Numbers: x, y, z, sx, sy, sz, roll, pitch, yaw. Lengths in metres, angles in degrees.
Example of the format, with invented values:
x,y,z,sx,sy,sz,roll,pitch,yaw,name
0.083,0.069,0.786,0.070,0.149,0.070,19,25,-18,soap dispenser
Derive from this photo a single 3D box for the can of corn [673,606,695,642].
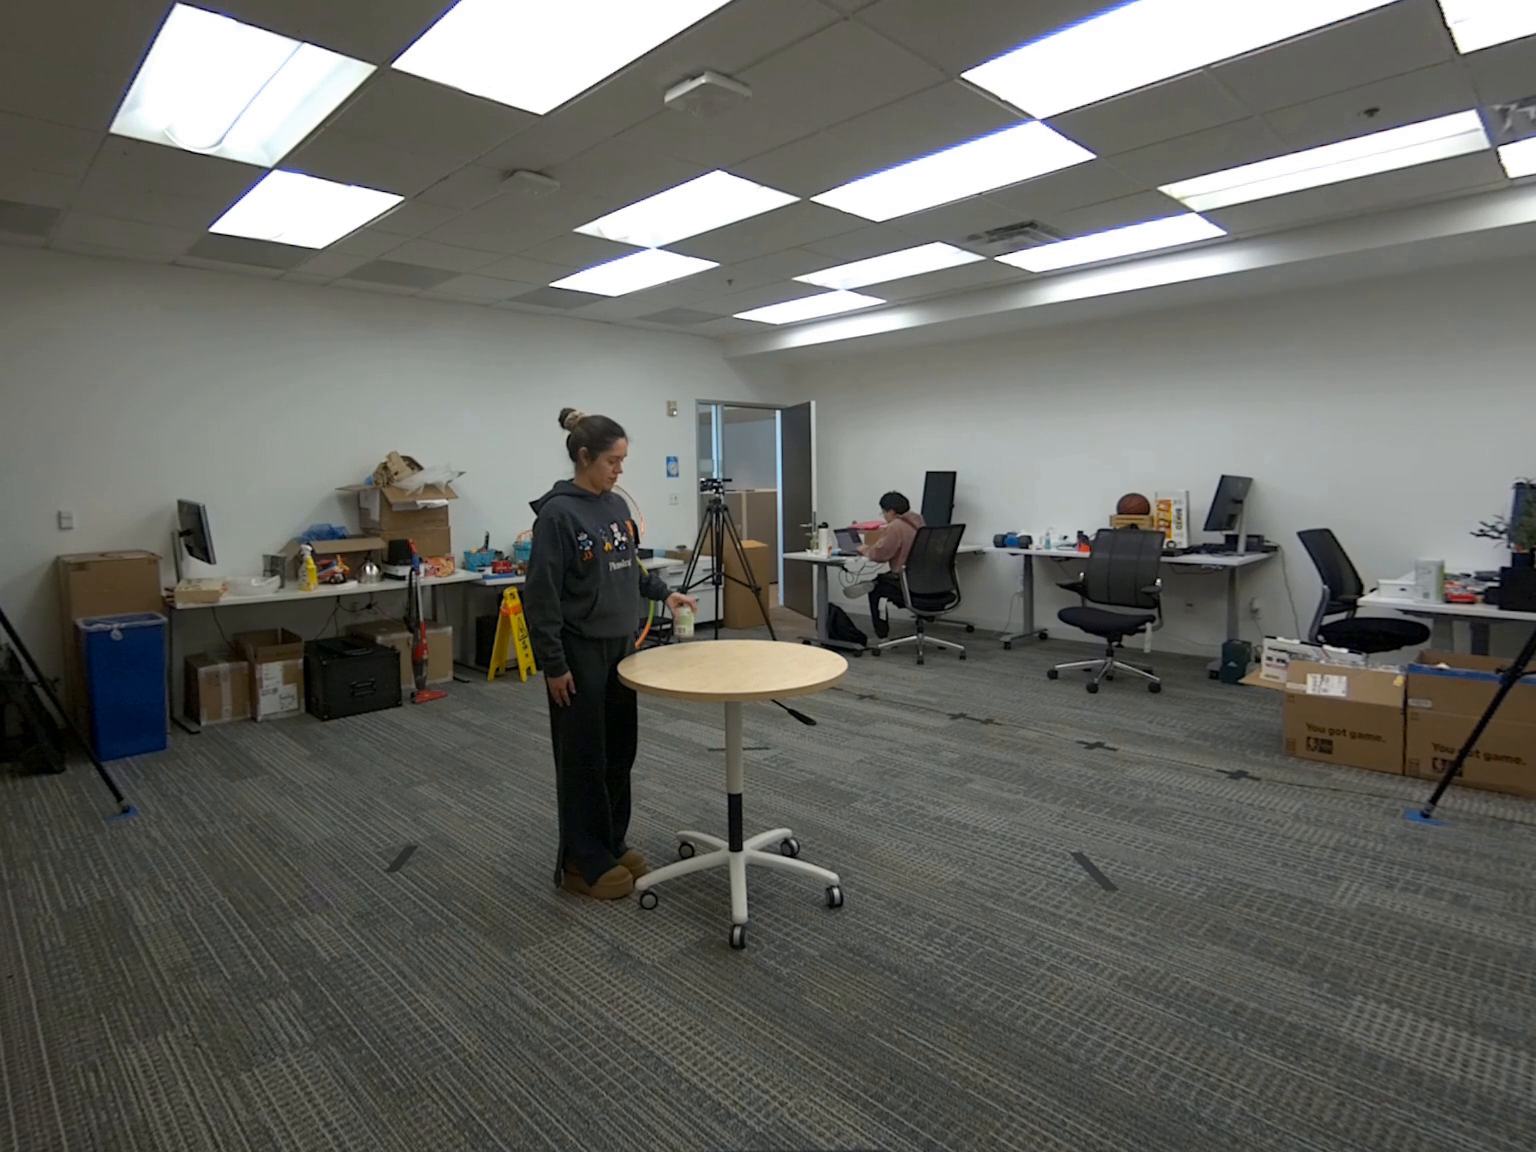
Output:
x,y,z,sx,sy,sz,roll,pitch,yaw,name
-0.298,0.167,3.101,0.074,0.111,0.074,-4,3,-1,can of corn
